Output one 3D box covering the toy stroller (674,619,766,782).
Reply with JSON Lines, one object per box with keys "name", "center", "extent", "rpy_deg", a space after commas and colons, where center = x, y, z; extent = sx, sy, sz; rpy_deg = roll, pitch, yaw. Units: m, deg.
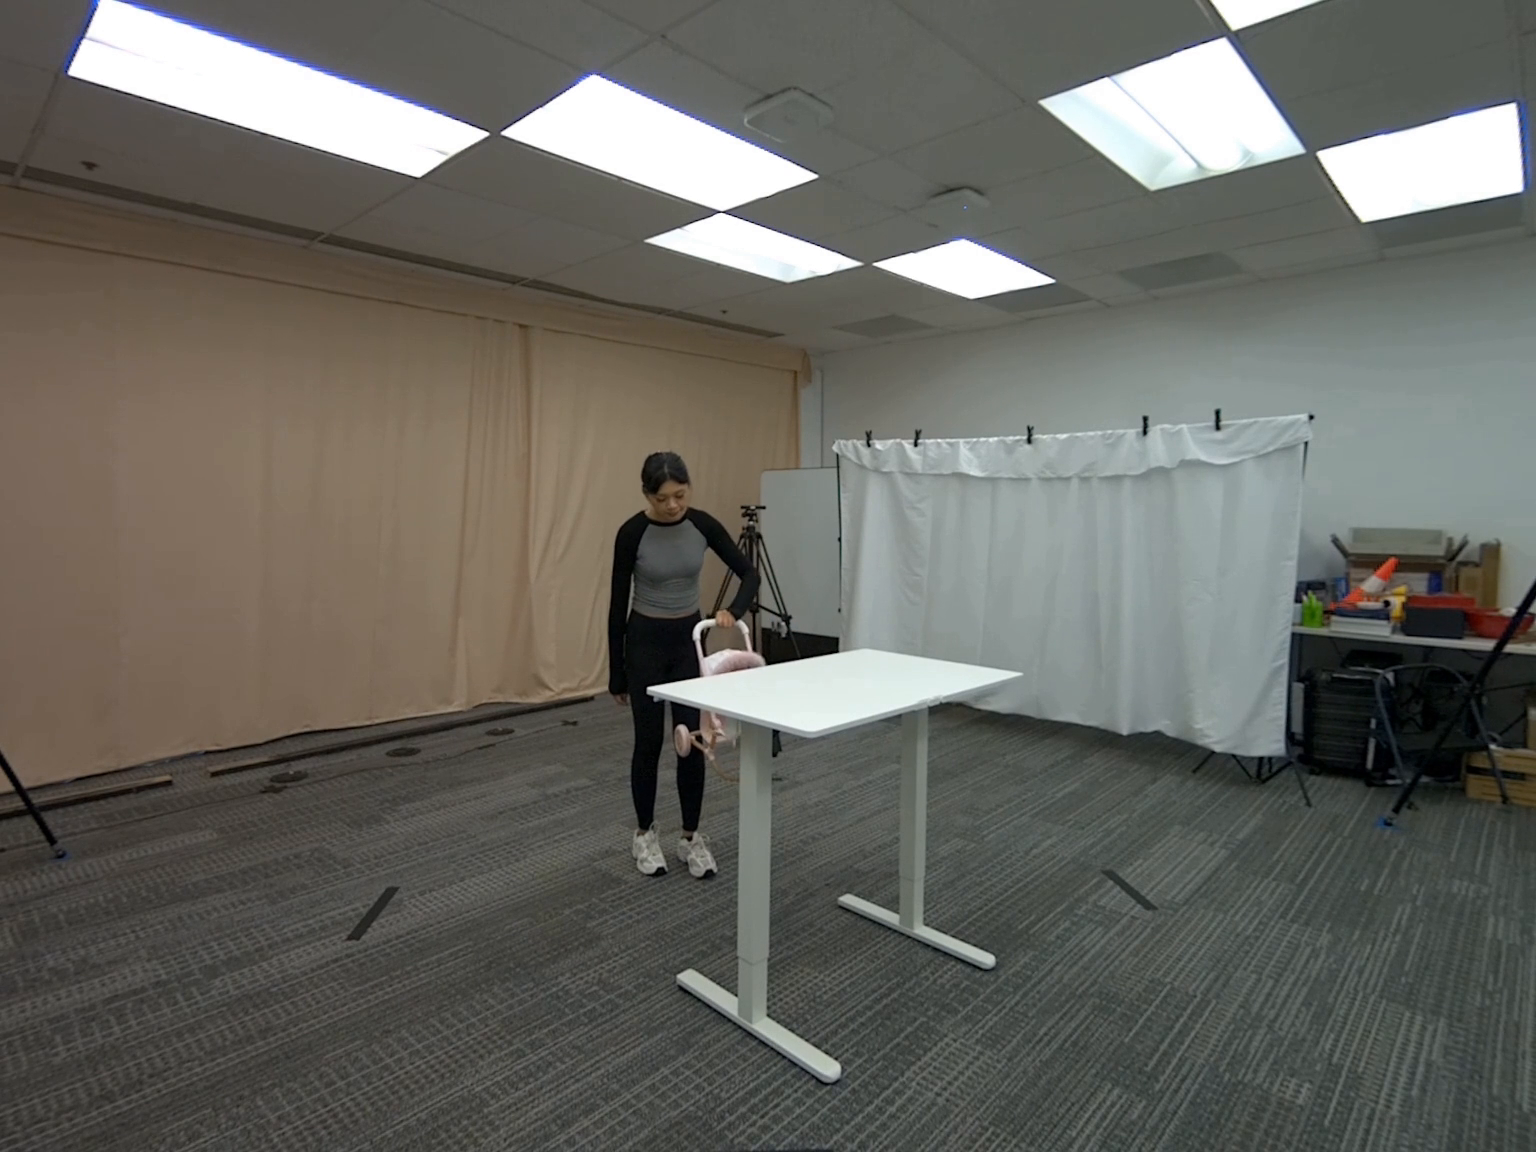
{"name": "toy stroller", "center": [-0.126, 0.459, 2.847], "extent": [0.275, 0.530, 0.352], "rpy_deg": [-2, 19, -24]}
